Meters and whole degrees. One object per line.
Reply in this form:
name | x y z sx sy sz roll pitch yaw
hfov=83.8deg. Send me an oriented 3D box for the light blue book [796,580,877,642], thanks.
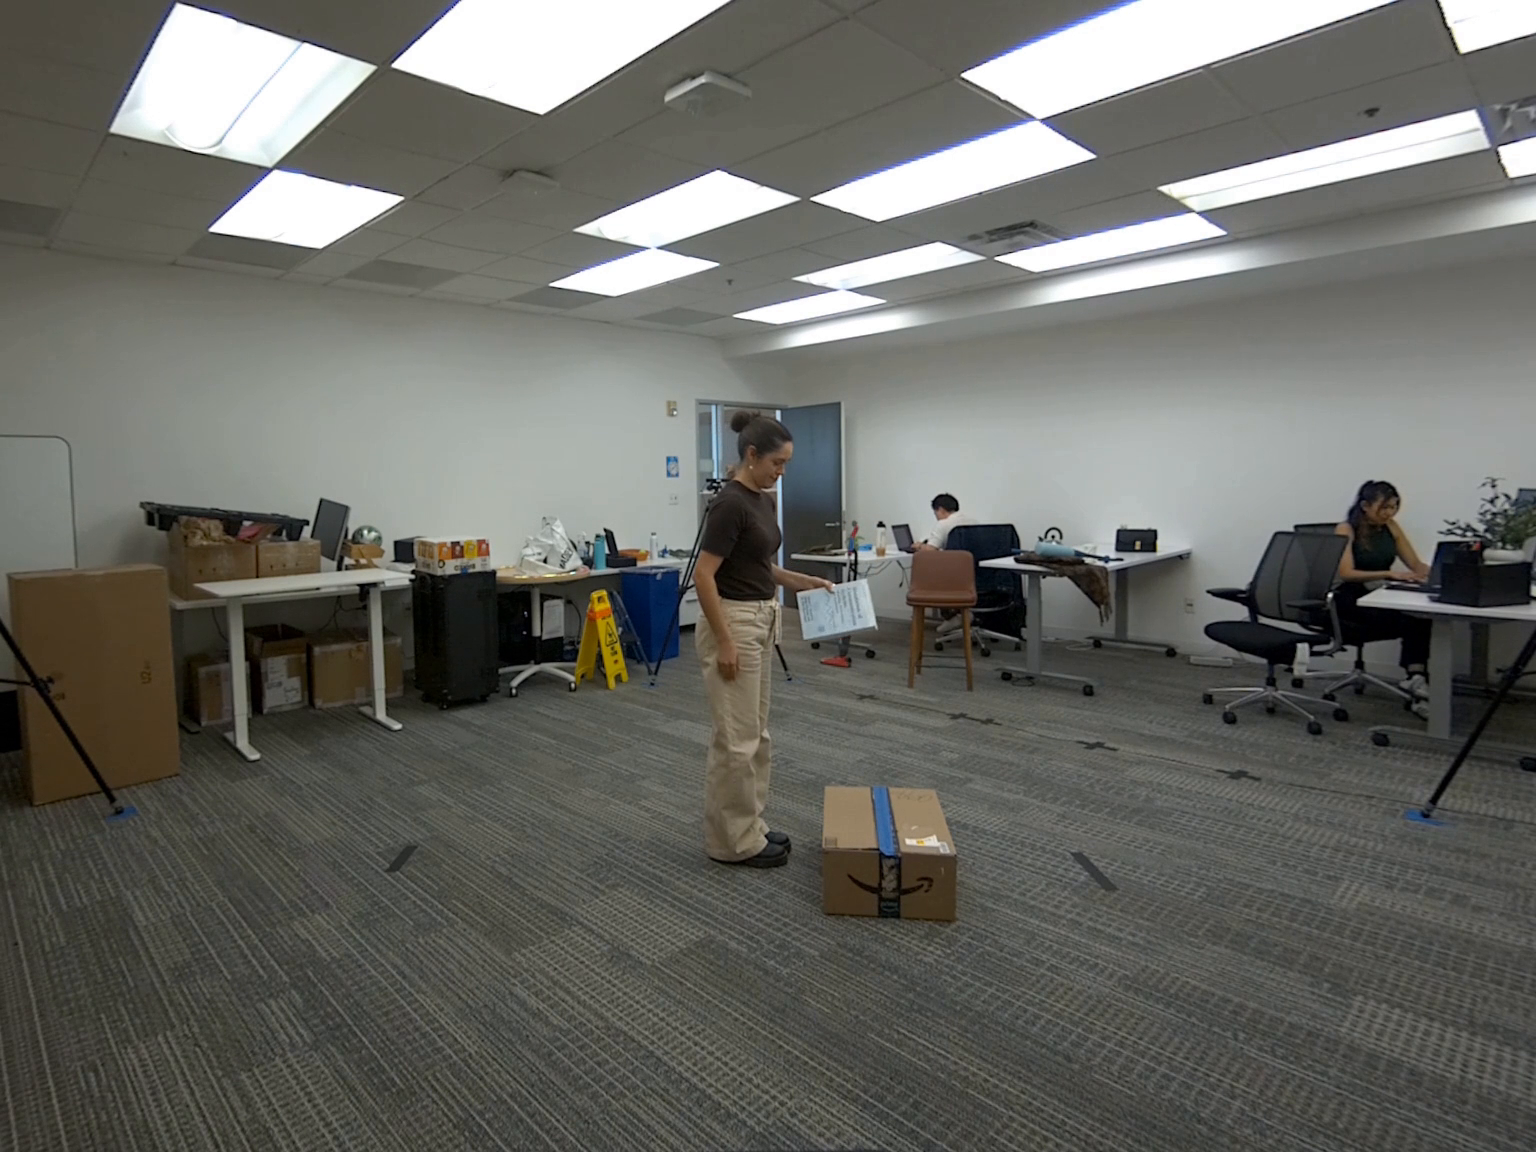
light blue book | 0.244 0.128 3.099 0.262 0.196 0.057 -12 -25 6
